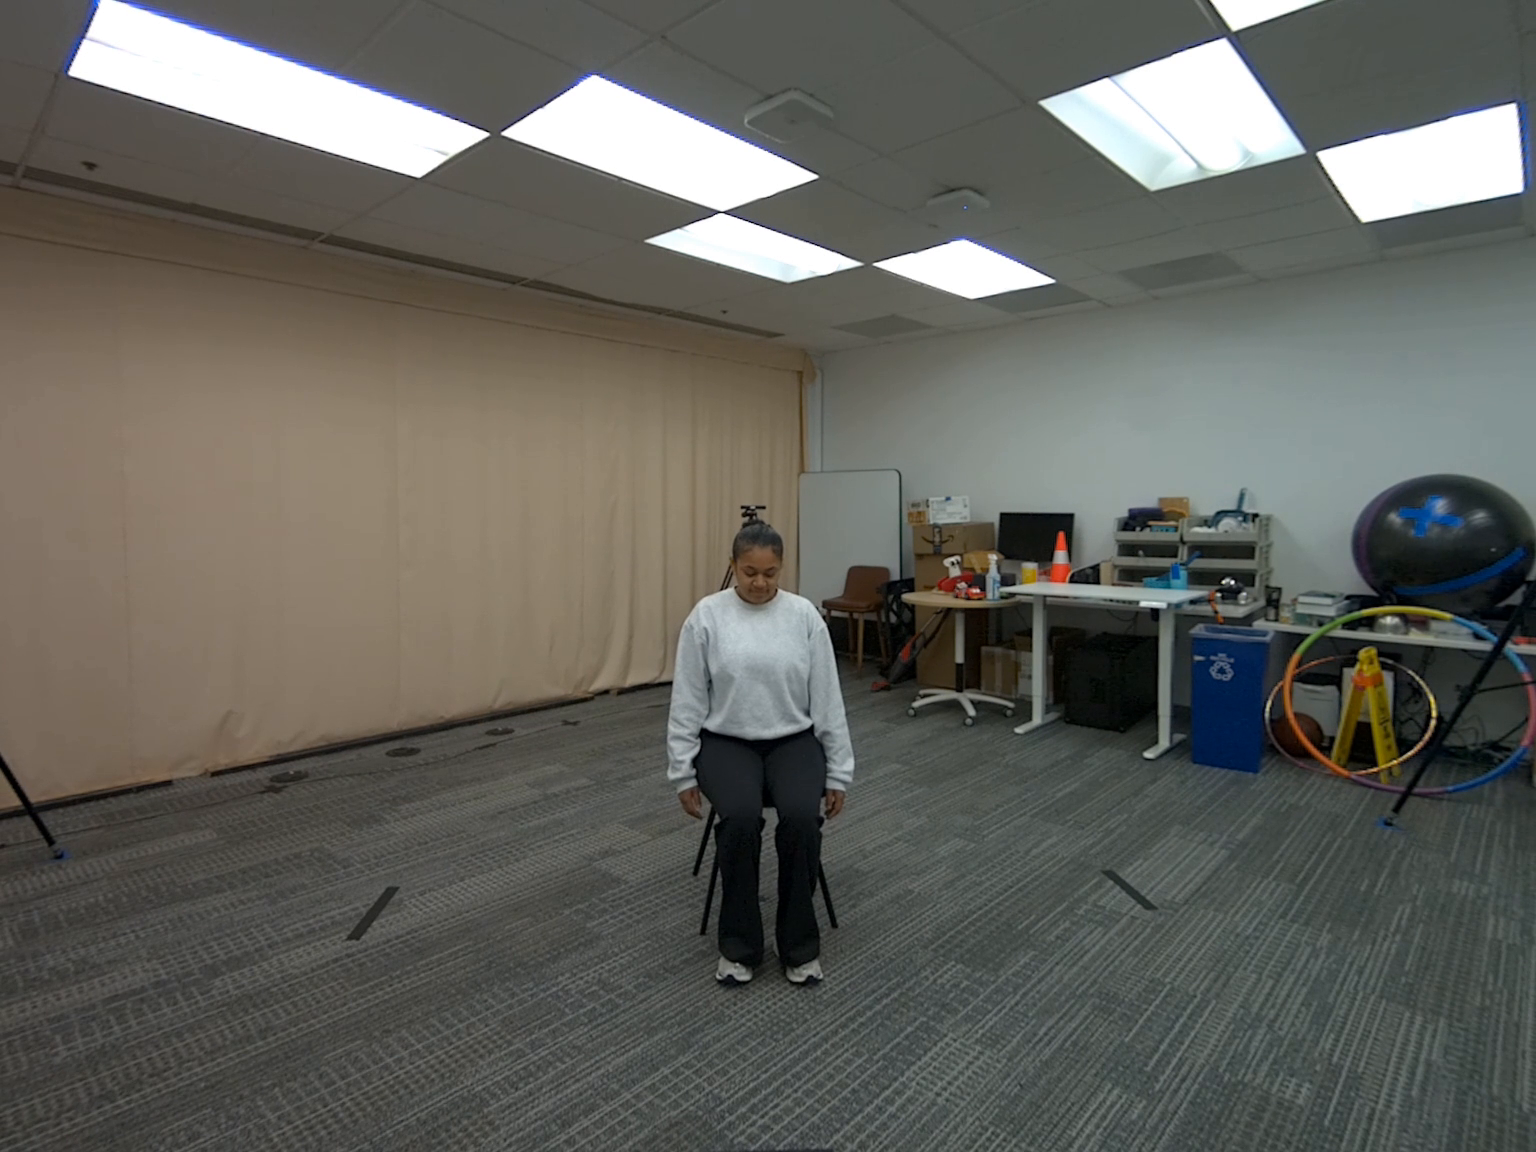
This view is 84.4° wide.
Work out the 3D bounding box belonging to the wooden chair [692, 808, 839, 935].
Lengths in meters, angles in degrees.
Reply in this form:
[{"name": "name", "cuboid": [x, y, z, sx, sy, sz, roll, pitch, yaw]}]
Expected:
[{"name": "wooden chair", "cuboid": [-0.024, 0.720, 2.937, 0.474, 0.878, 0.527, 0, 0, -8]}]
